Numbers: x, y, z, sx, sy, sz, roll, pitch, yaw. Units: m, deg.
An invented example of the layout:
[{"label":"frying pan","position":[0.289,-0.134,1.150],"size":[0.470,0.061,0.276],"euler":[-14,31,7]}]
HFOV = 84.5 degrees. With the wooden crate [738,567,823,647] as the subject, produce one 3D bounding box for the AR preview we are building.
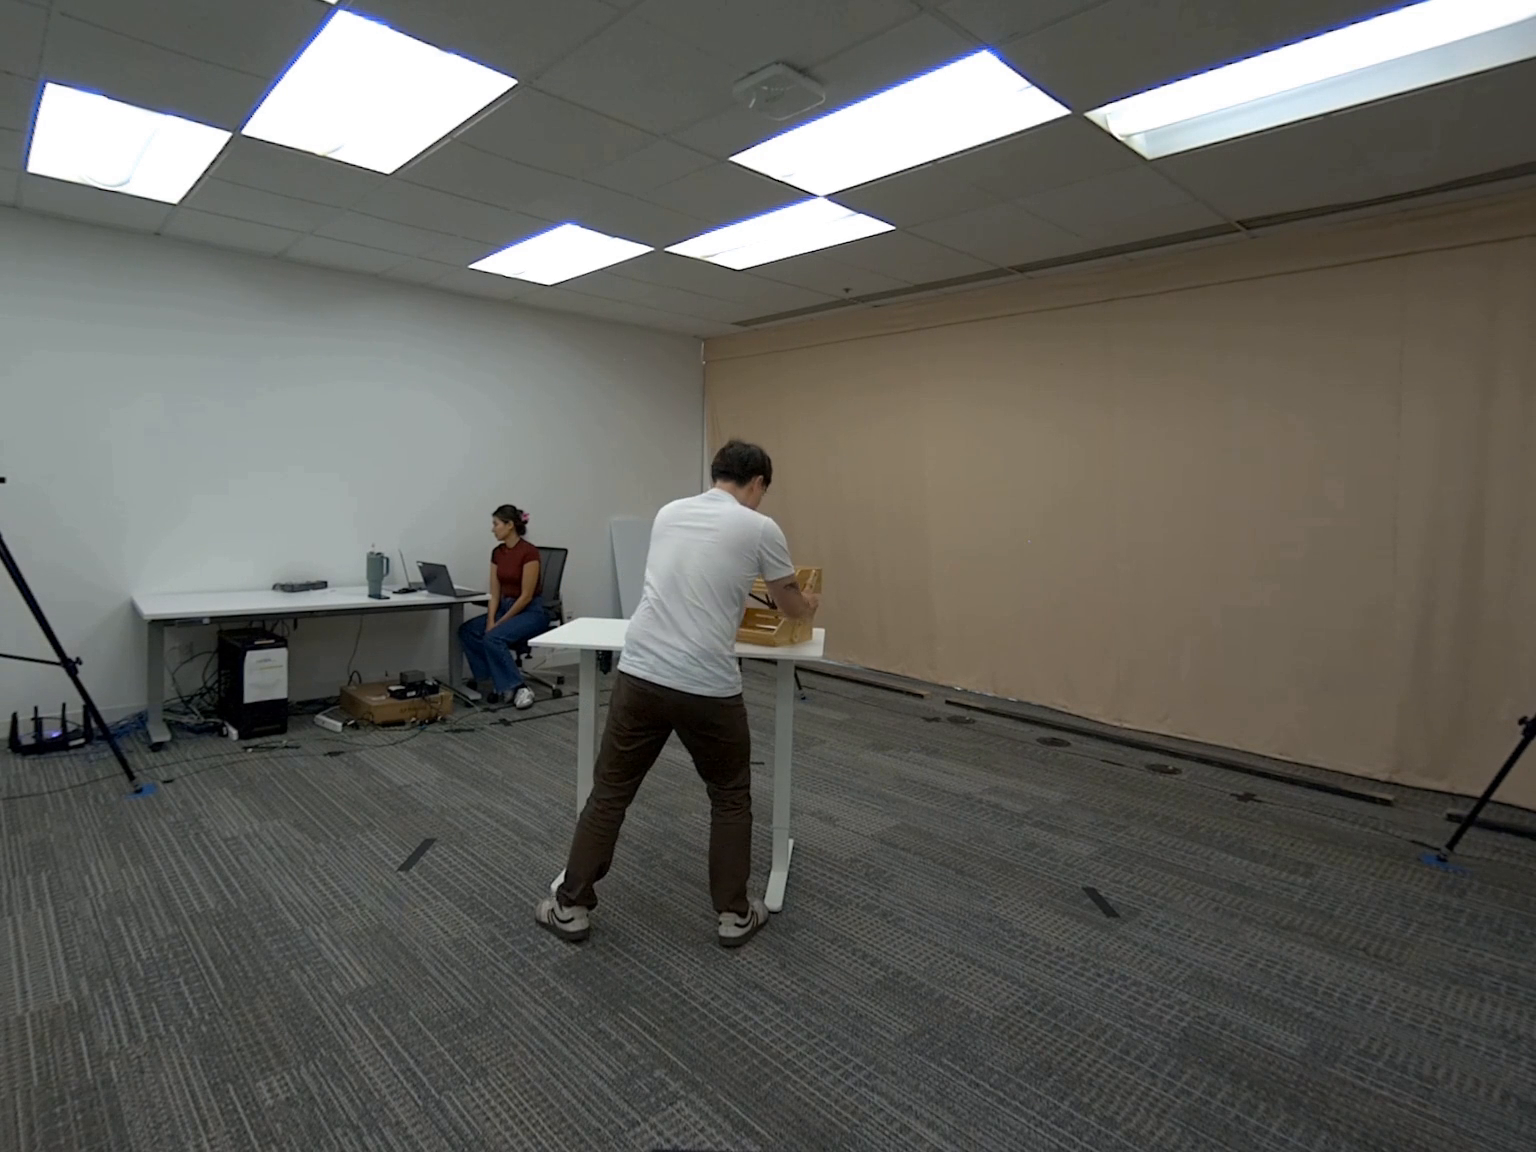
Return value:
[{"label":"wooden crate","position":[-0.028,0.094,3.076],"size":[0.332,0.273,0.295],"euler":[5,4,35]}]
